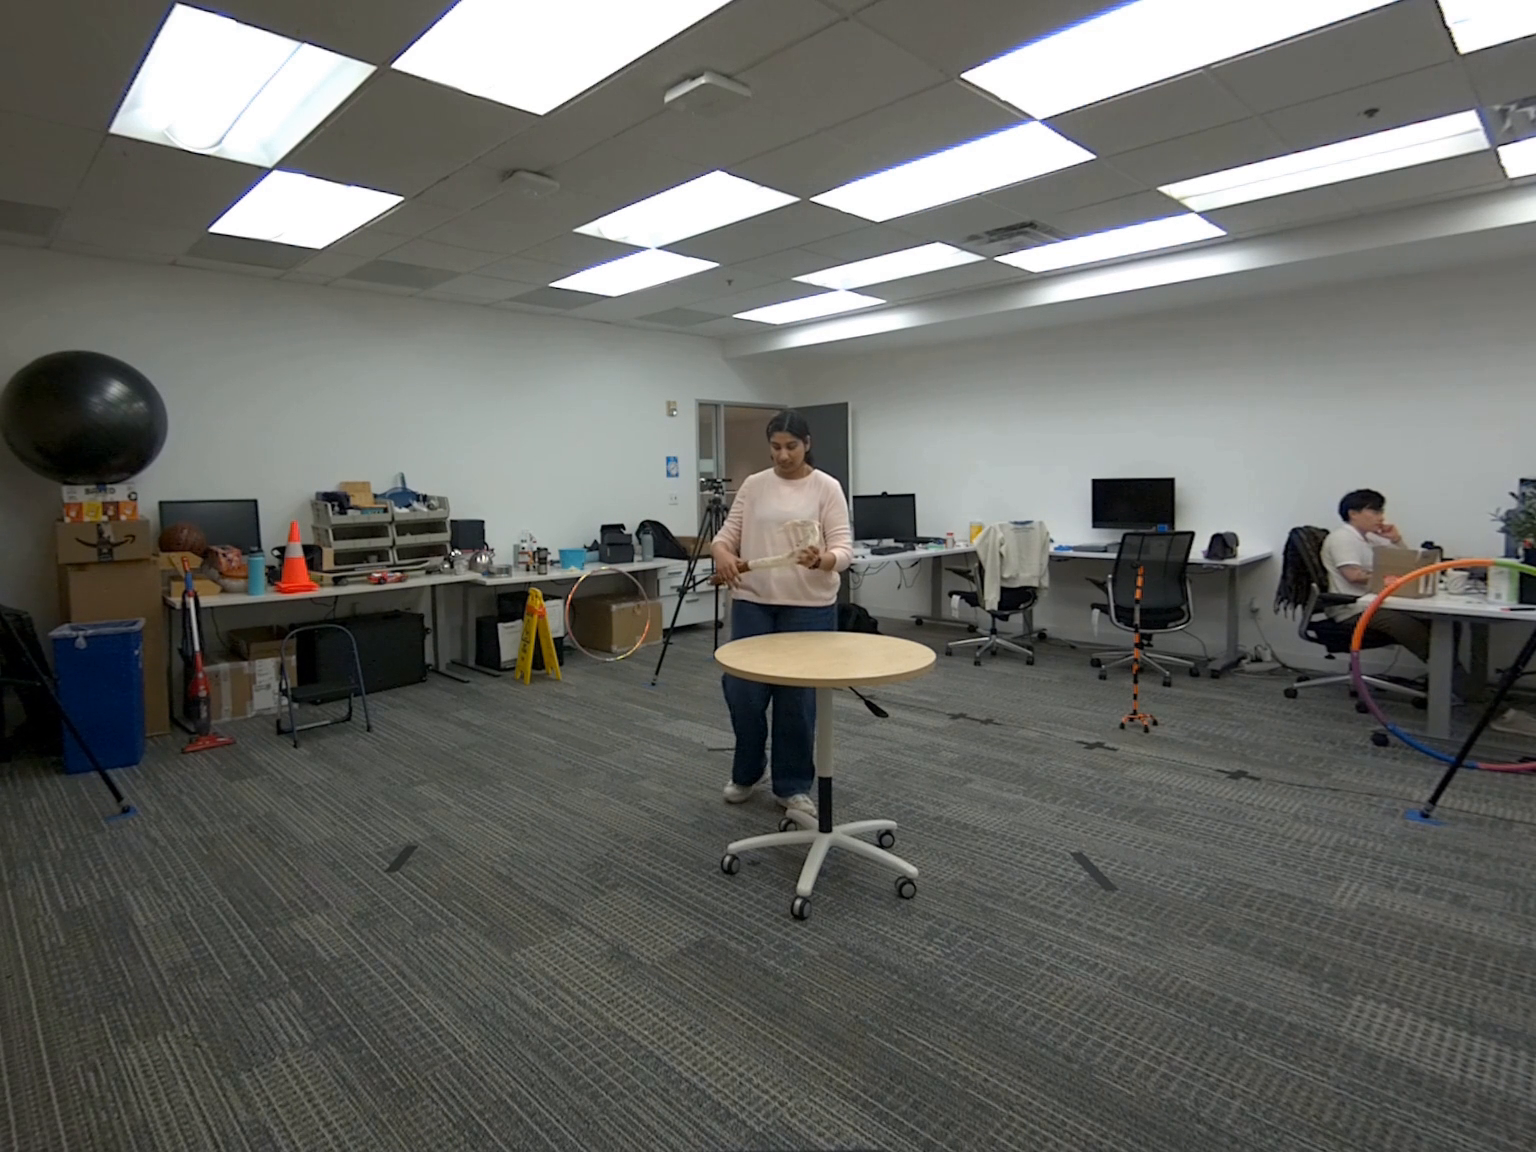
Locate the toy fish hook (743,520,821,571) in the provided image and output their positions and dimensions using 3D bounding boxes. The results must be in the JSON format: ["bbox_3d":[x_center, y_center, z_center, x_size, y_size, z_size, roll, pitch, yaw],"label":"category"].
[{"bbox_3d":[-0.021,-0.083,3.359,0.513,0.046,0.229,-20,37,25],"label":"toy fish hook"}]
